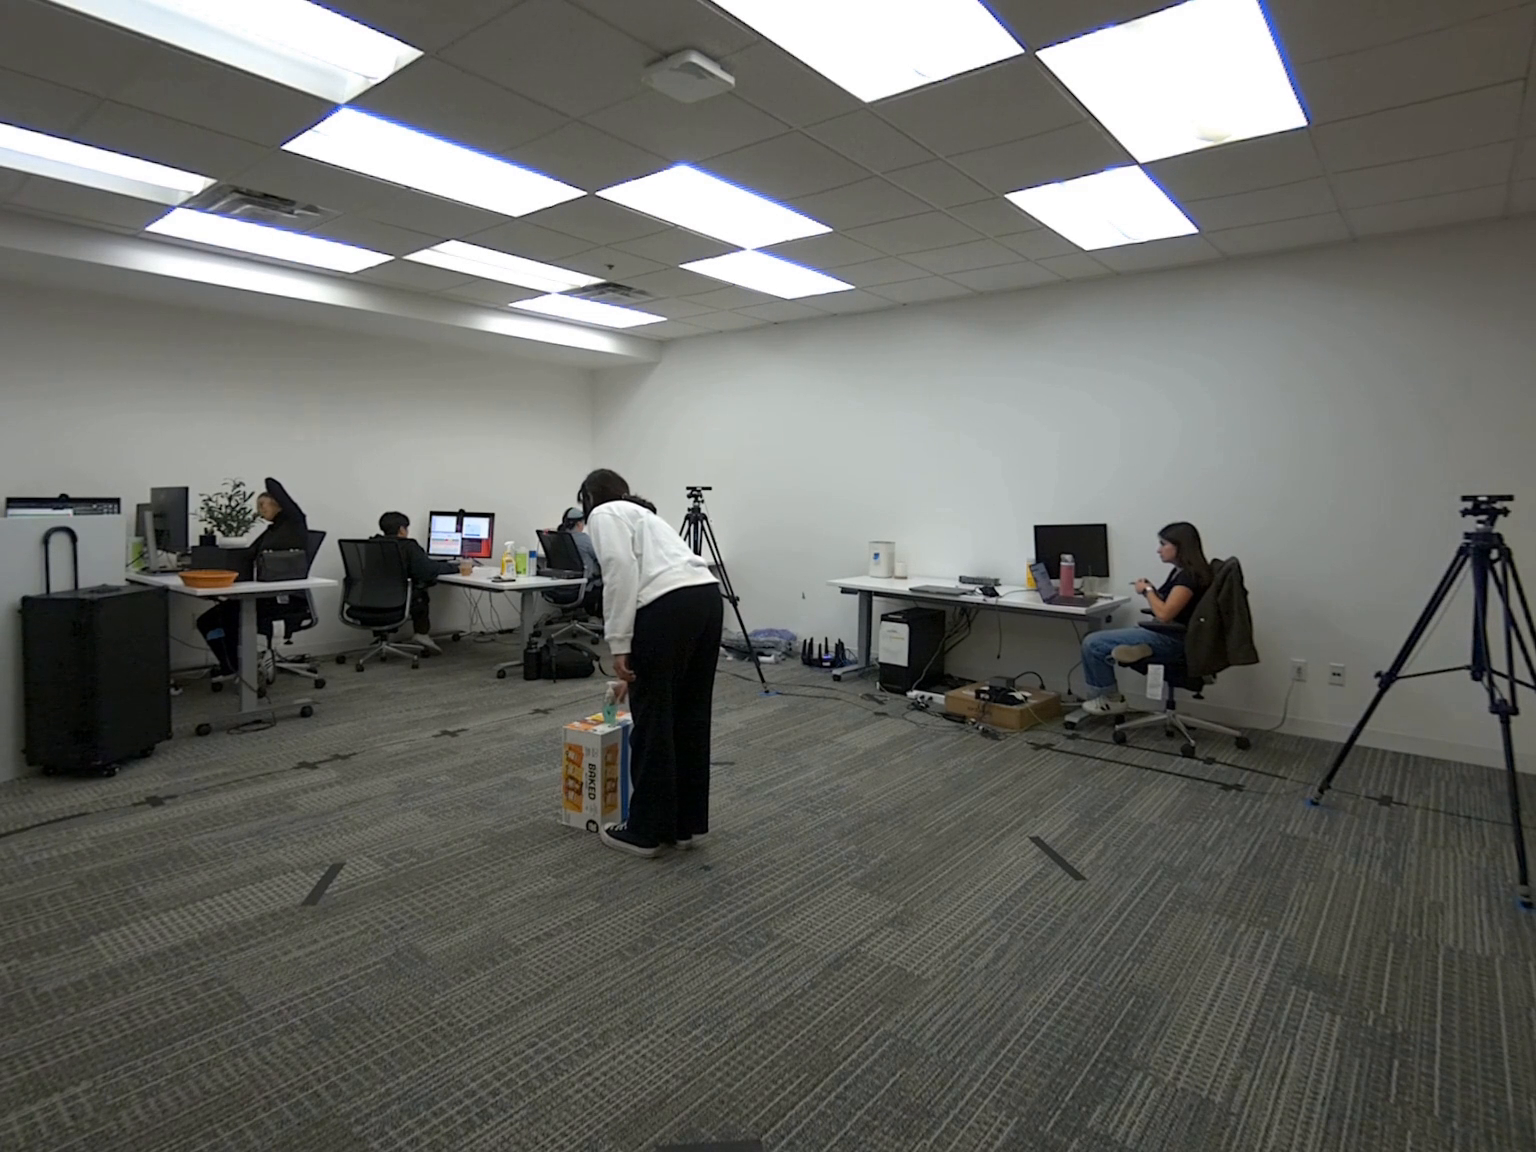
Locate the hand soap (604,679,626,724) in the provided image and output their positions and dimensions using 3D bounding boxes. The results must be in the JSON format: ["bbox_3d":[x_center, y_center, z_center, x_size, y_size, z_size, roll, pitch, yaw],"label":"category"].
[{"bbox_3d":[-0.647,0.525,3.562,0.045,0.167,0.082,6,7,31],"label":"hand soap"}]
